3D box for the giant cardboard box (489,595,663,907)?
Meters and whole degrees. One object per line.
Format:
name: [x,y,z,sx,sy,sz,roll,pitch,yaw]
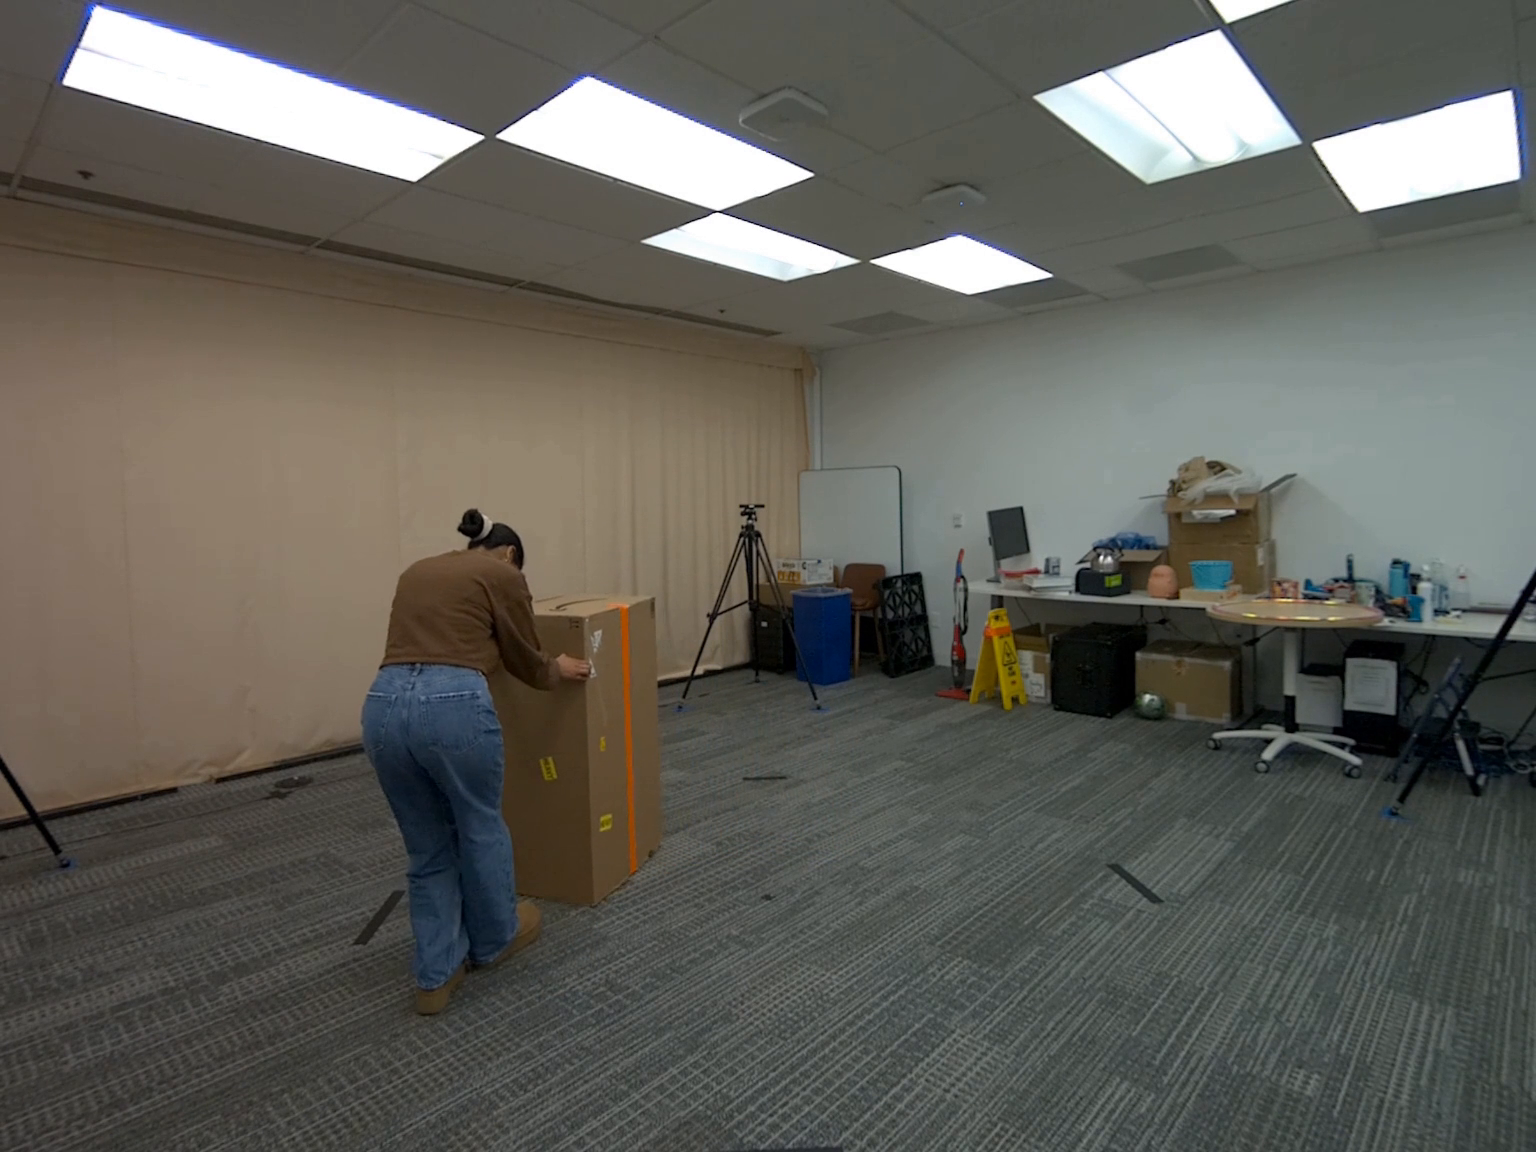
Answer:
giant cardboard box: [-0.723,0.619,3.251,0.435,1.023,0.567,0,4,19]
